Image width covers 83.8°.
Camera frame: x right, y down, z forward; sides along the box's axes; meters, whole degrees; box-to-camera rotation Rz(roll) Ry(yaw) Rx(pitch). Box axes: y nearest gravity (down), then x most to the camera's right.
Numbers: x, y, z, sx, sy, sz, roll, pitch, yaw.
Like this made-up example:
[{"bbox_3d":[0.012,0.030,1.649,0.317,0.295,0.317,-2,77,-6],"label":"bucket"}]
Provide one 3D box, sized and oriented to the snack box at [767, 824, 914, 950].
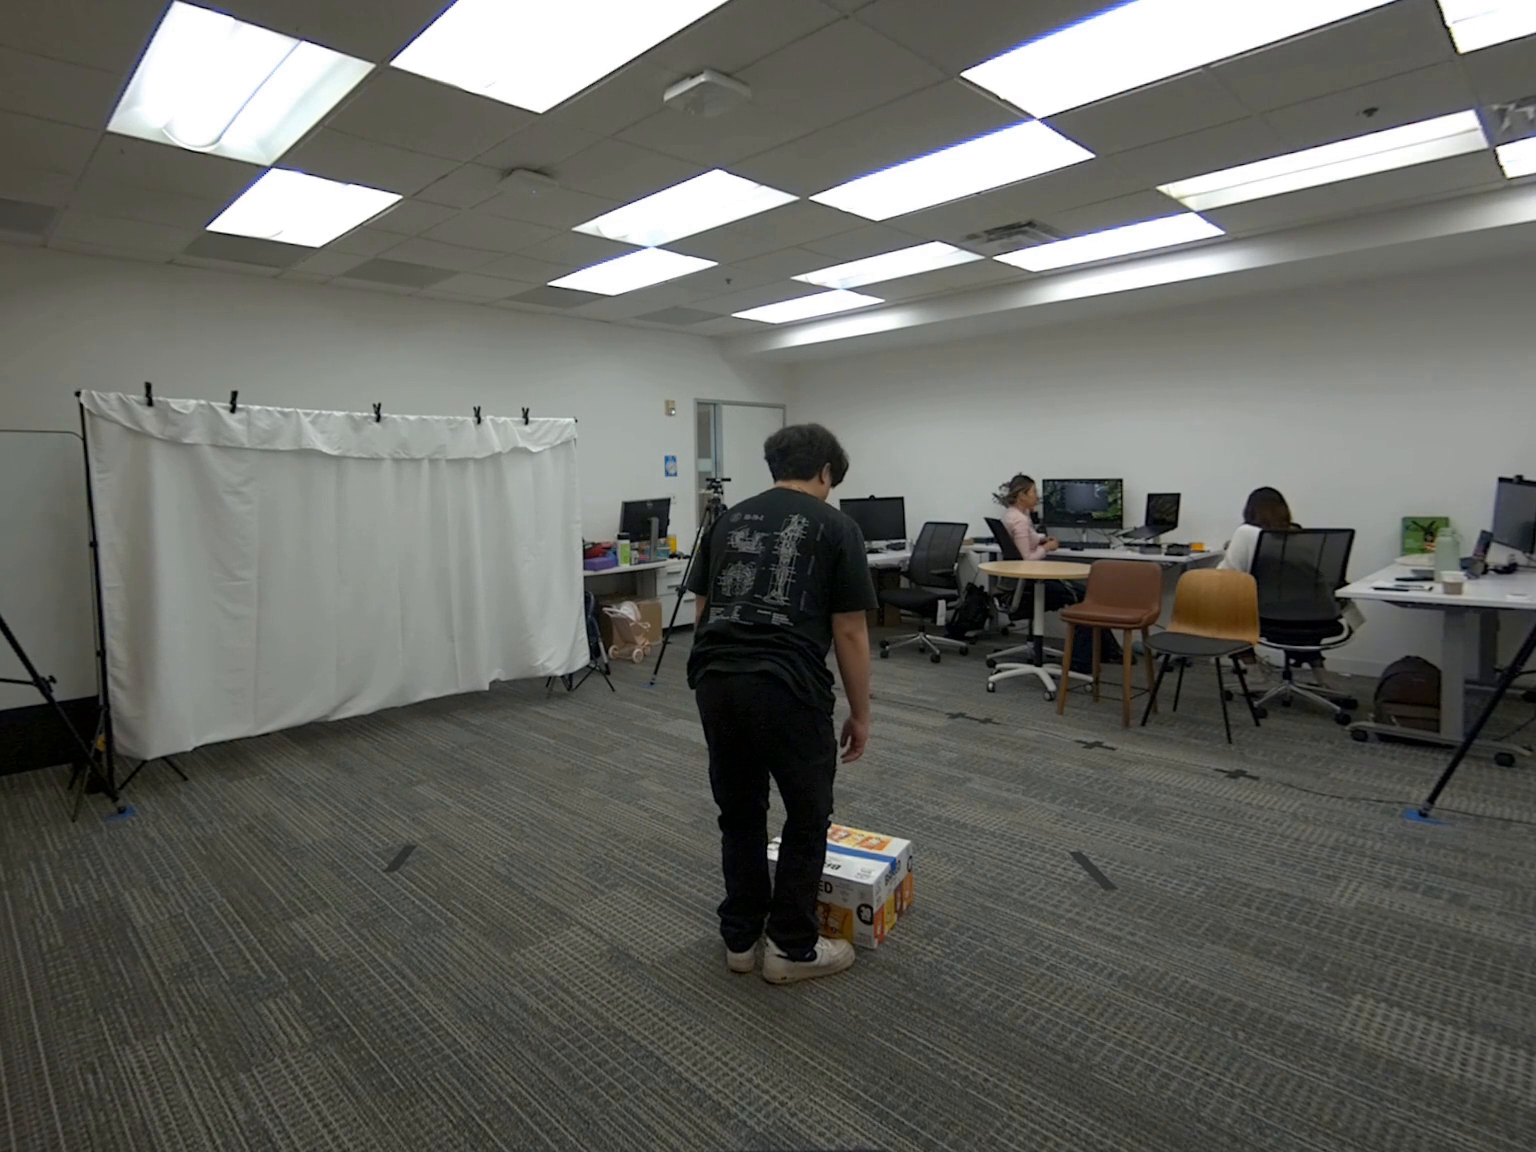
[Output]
[{"bbox_3d":[0.218,0.975,2.756,0.416,0.205,0.333,2,7,30],"label":"snack box"}]
